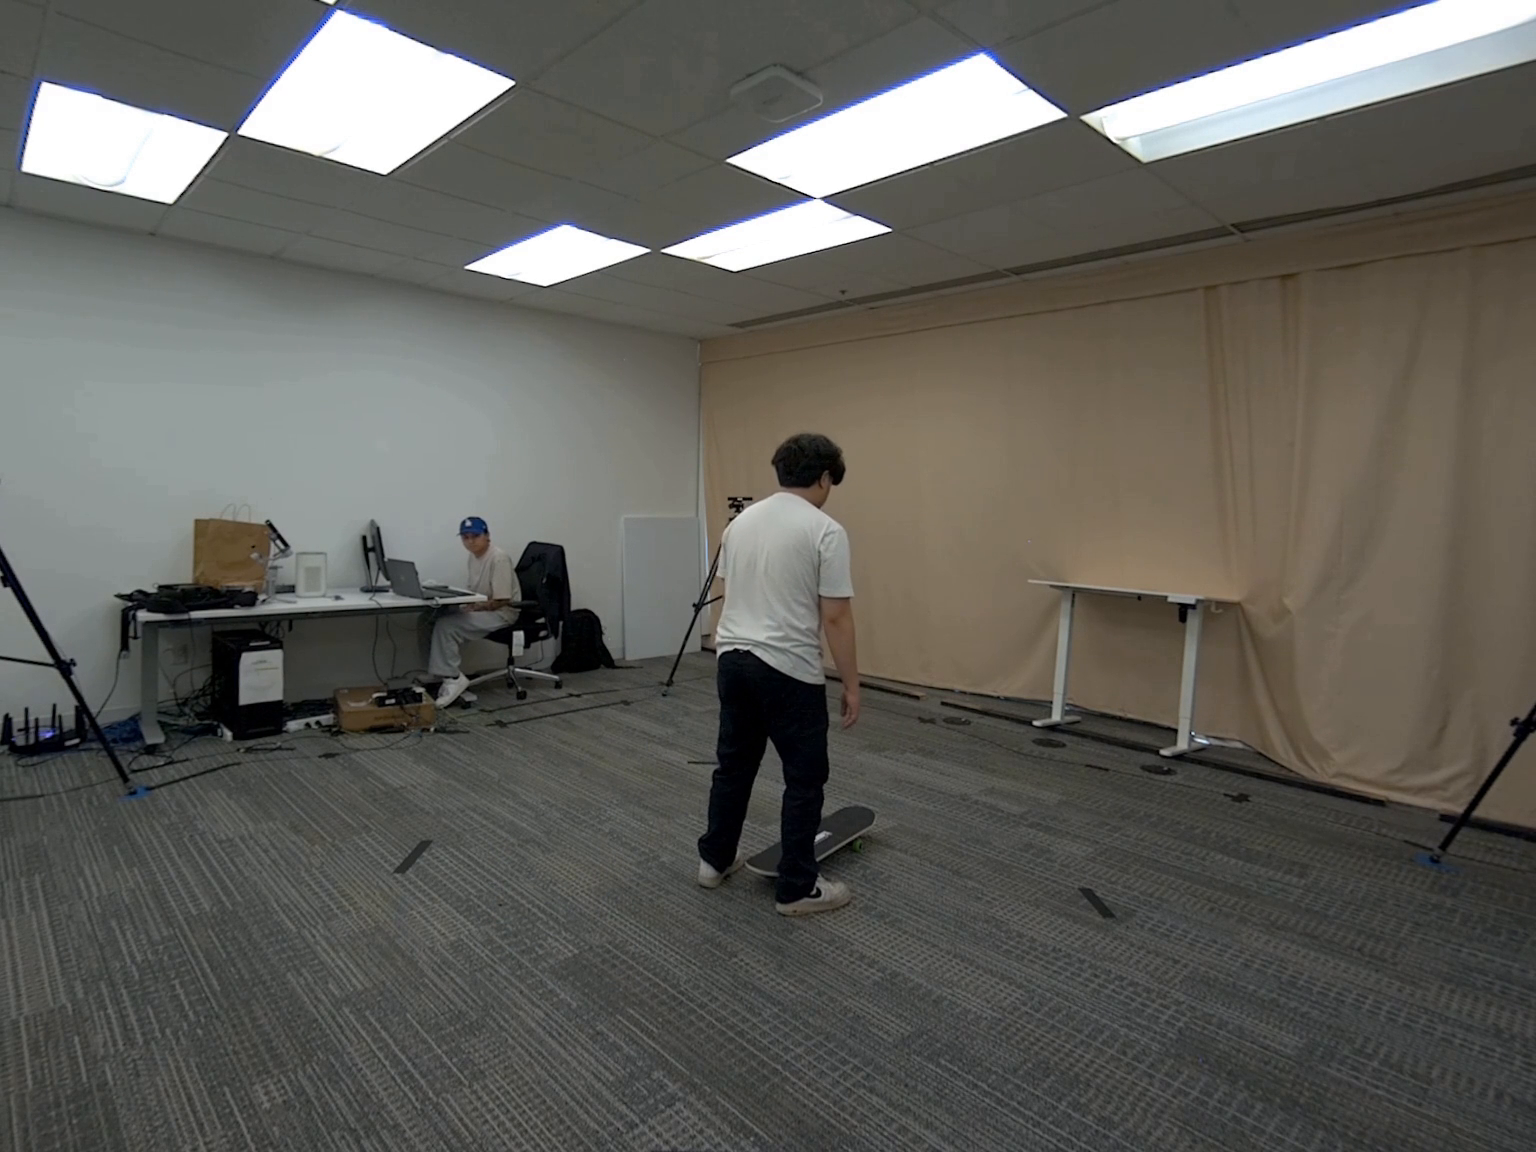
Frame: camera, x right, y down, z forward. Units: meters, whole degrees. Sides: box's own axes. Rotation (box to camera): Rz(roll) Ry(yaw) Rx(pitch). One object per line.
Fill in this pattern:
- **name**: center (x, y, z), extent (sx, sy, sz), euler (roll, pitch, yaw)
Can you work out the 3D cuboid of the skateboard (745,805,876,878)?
- **skateboard**: center (0.176, 1.051, 3.240), extent (0.198, 0.110, 0.769), euler (4, 6, 35)
